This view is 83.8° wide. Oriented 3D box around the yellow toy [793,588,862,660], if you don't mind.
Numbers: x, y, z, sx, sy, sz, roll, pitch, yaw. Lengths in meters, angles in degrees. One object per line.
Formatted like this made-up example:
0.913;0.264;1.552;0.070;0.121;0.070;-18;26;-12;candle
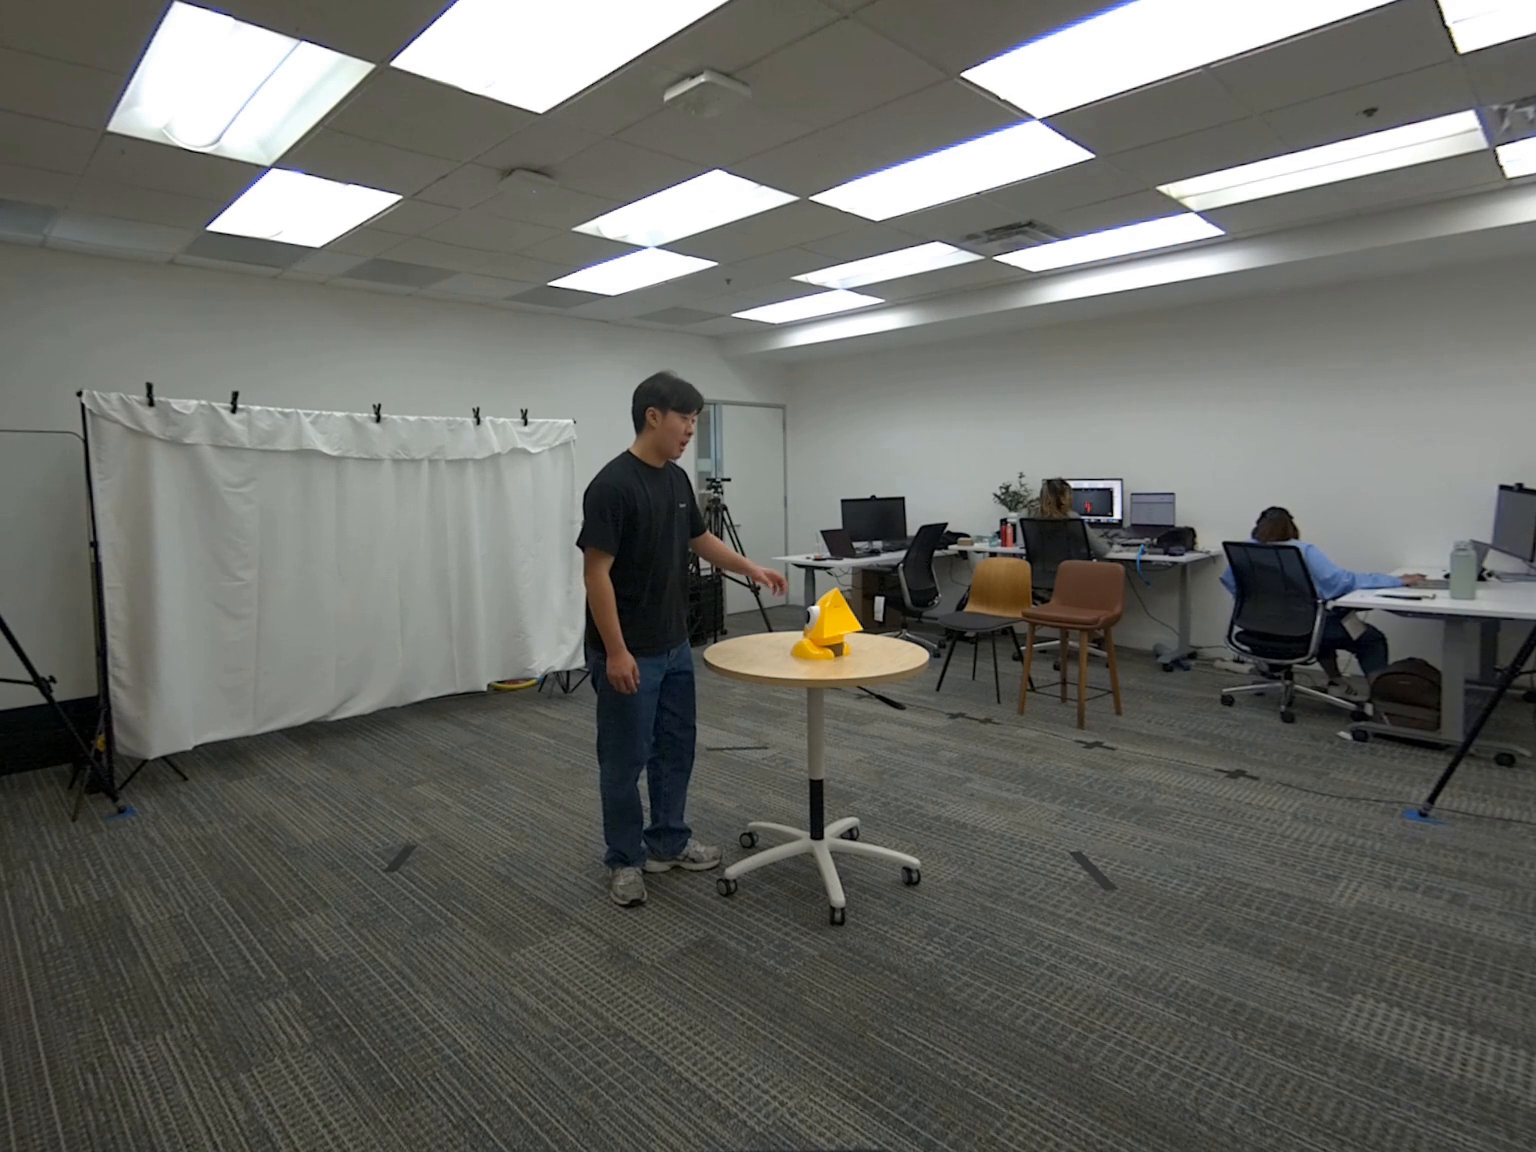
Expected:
0.189;0.148;2.906;0.199;0.230;0.199;-5;7;-45;yellow toy
